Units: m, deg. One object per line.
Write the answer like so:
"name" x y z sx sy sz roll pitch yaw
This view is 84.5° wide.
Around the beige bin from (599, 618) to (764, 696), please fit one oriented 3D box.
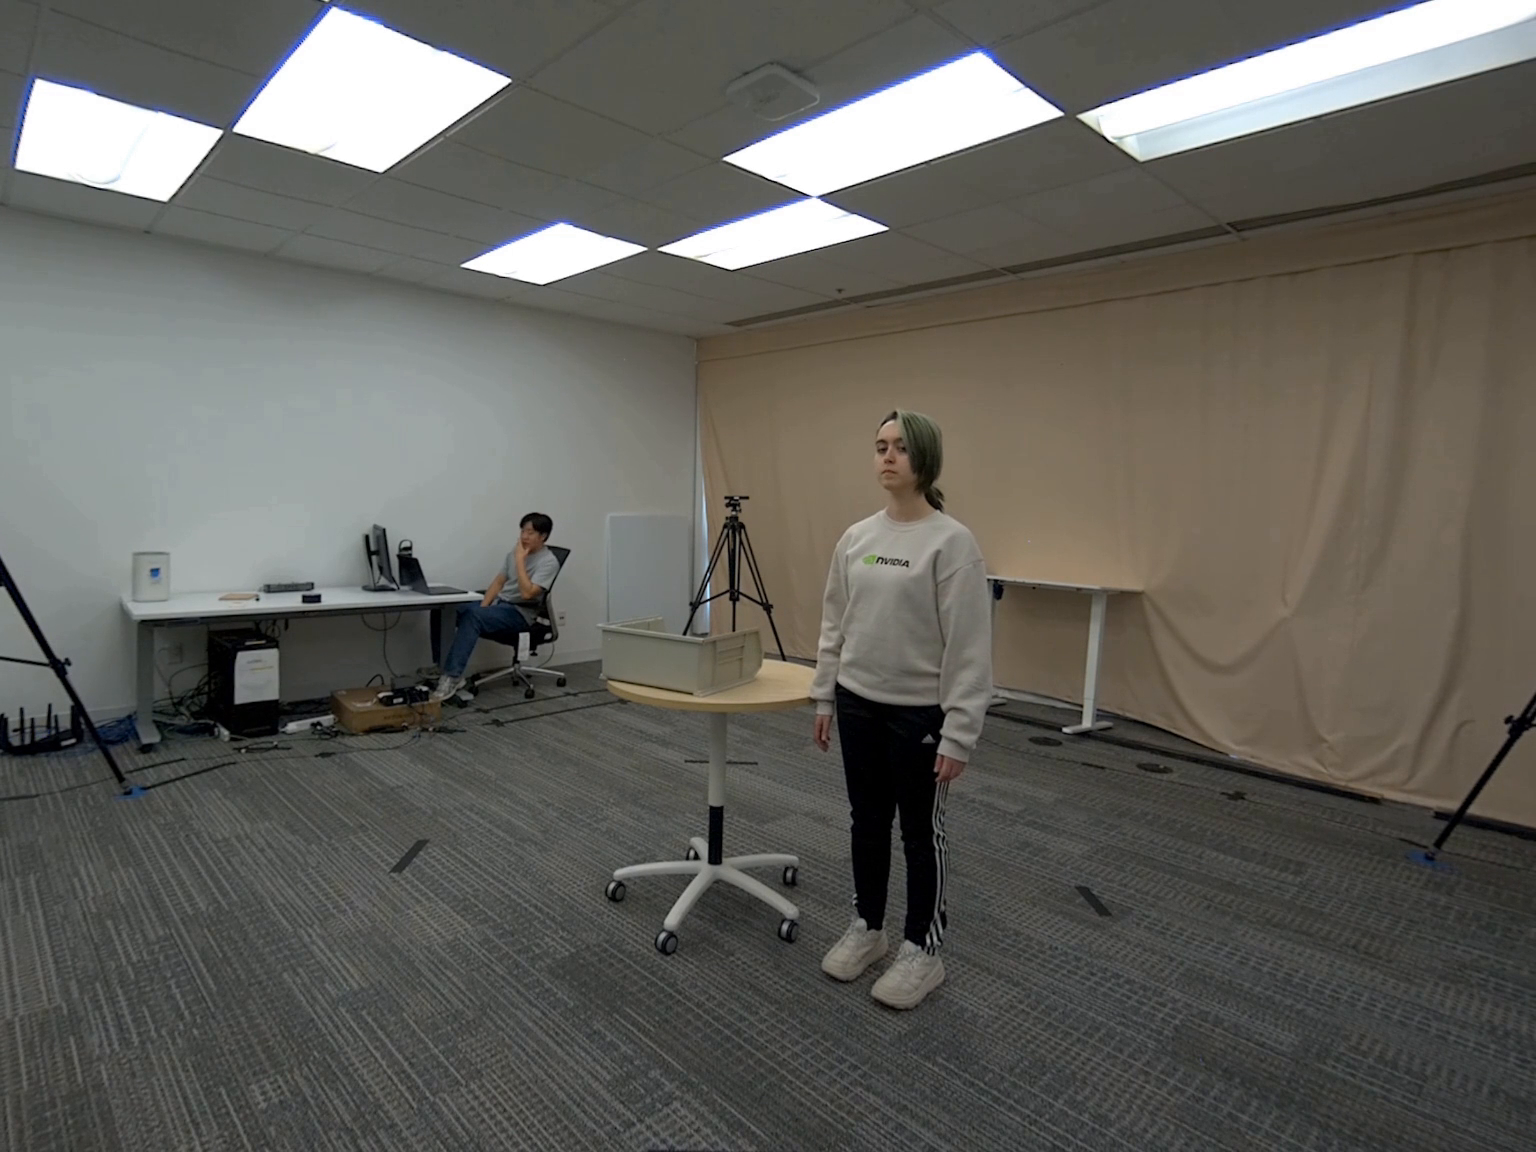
"beige bin" -0.293 0.255 2.790 0.432 0.188 0.370 5 7 31
